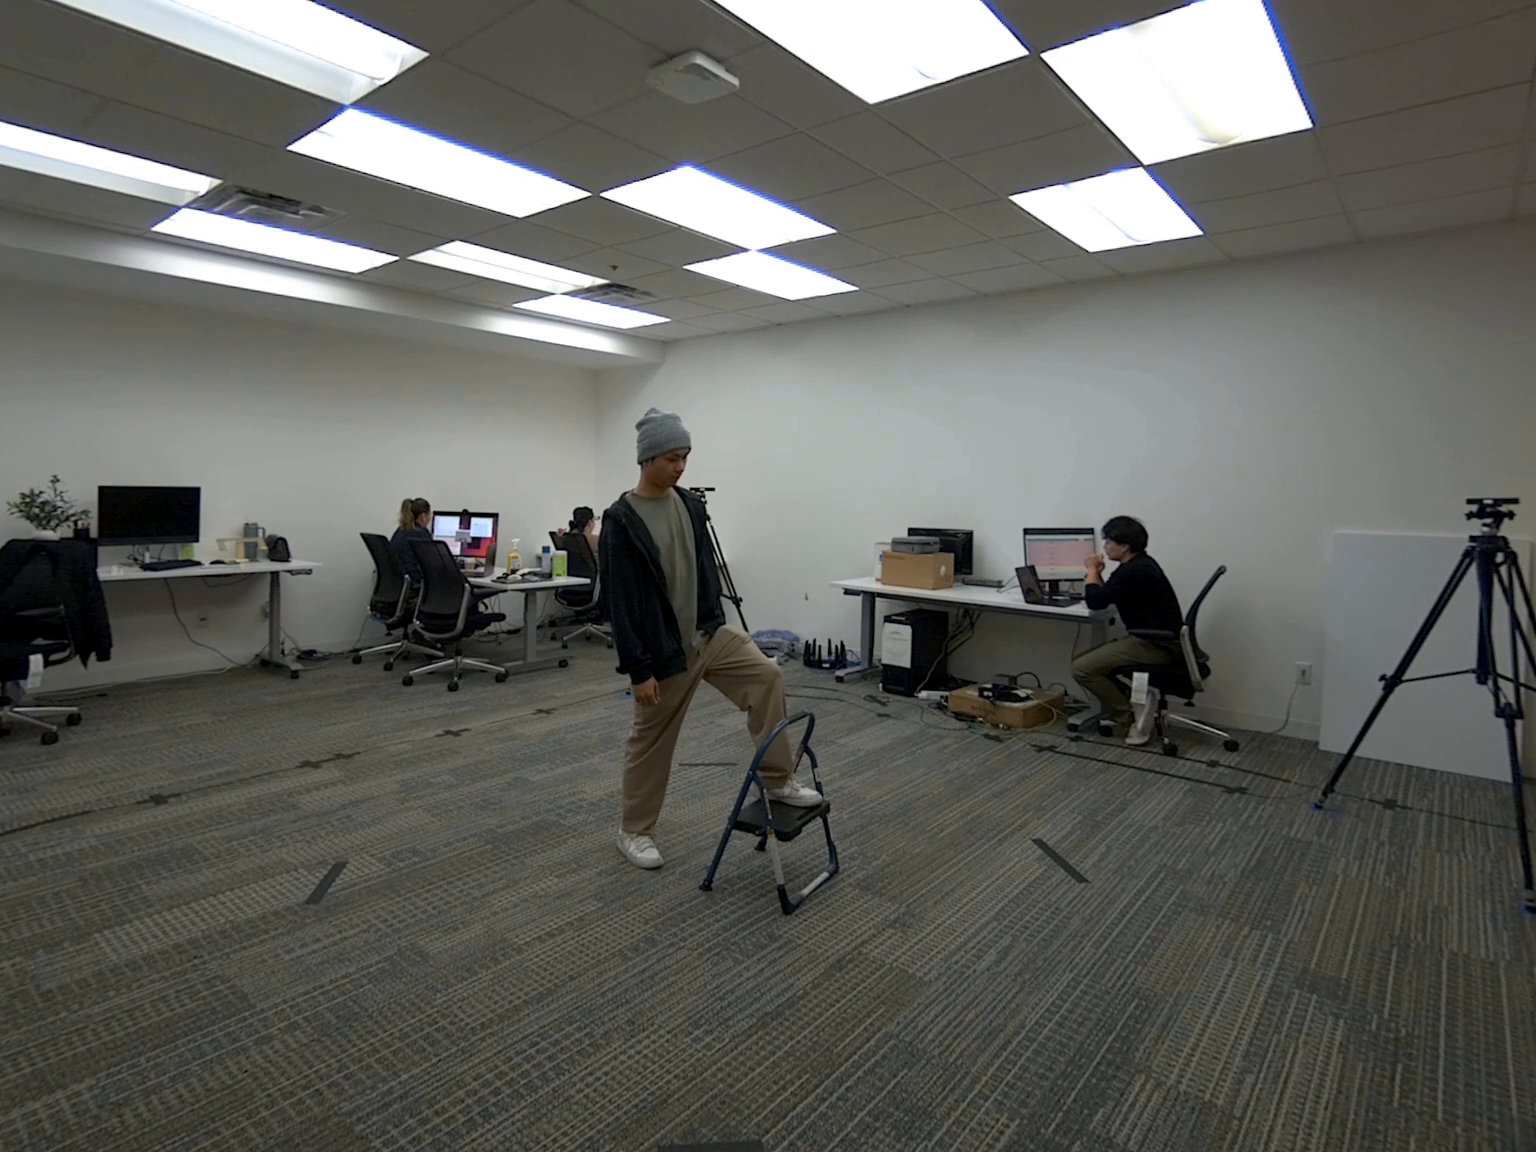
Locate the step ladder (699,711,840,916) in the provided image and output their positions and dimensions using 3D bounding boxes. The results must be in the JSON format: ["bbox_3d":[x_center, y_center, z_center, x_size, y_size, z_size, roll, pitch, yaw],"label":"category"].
[{"bbox_3d":[0.016,0.778,3.016,0.359,0.604,0.419,4,4,29],"label":"step ladder"}]
